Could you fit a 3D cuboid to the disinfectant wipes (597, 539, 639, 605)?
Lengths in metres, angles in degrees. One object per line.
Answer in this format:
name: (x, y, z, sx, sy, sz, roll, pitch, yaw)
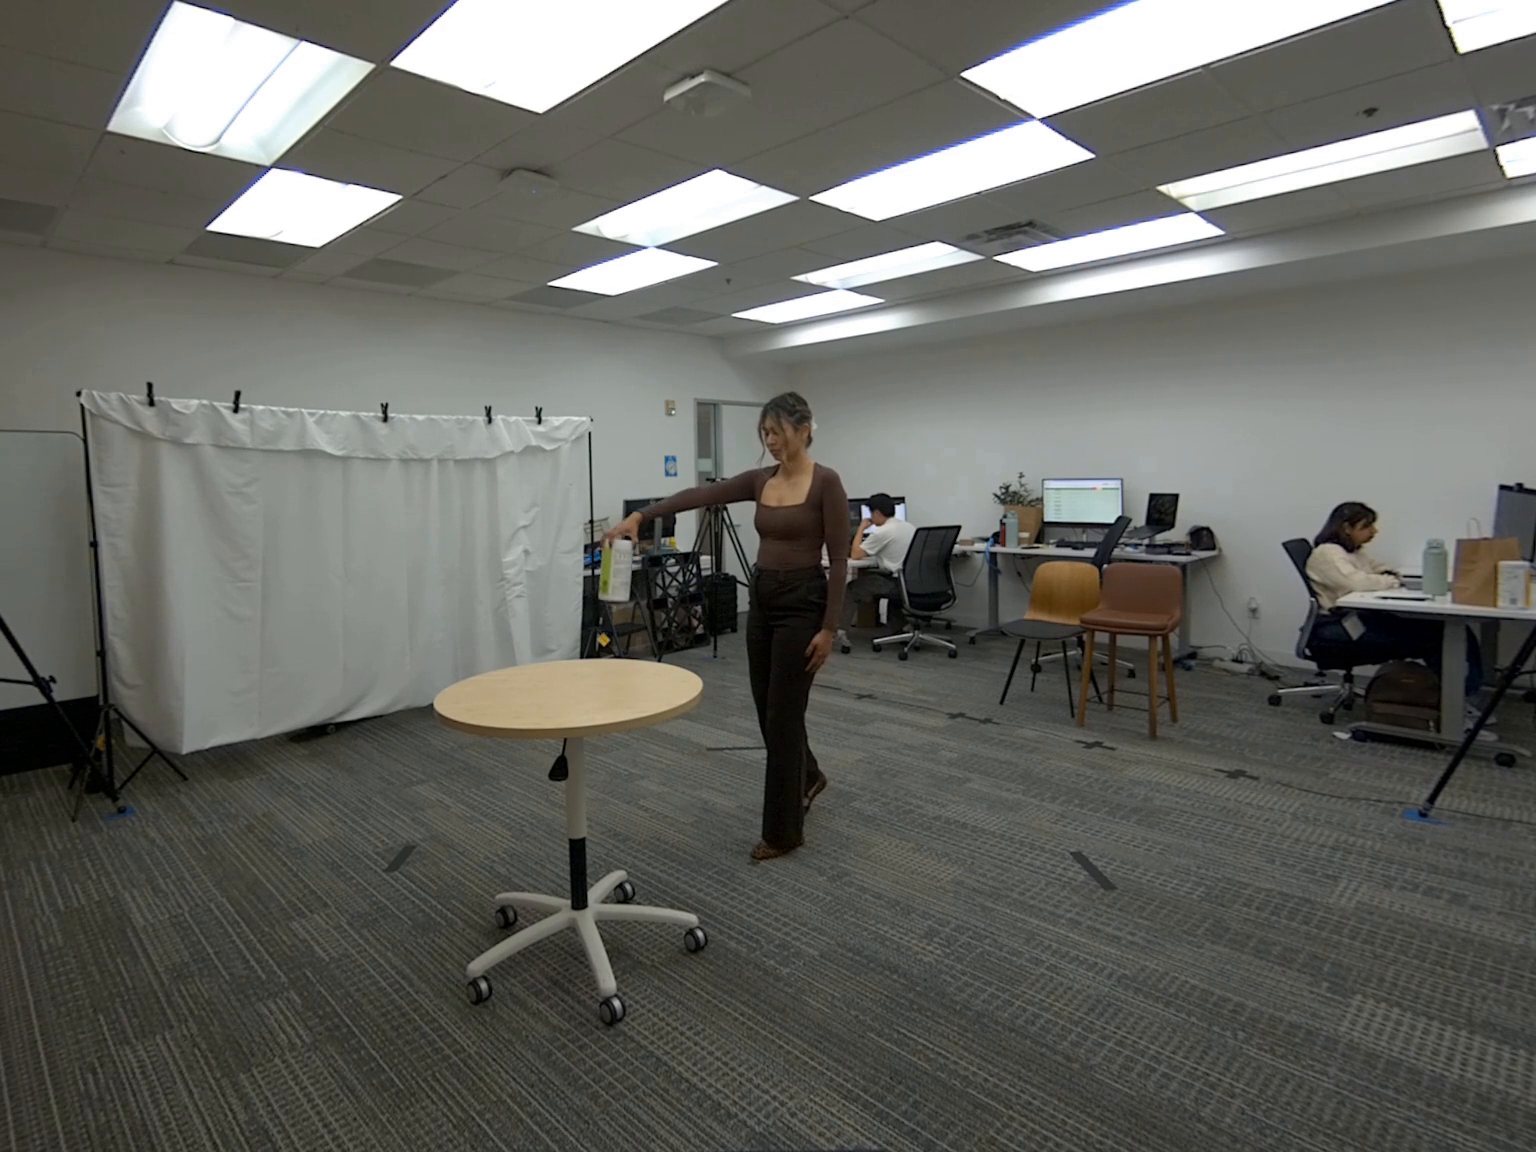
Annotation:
disinfectant wipes: (-0.530, -0.017, 3.035, 0.118, 0.218, 0.118, 4, -1, -2)
